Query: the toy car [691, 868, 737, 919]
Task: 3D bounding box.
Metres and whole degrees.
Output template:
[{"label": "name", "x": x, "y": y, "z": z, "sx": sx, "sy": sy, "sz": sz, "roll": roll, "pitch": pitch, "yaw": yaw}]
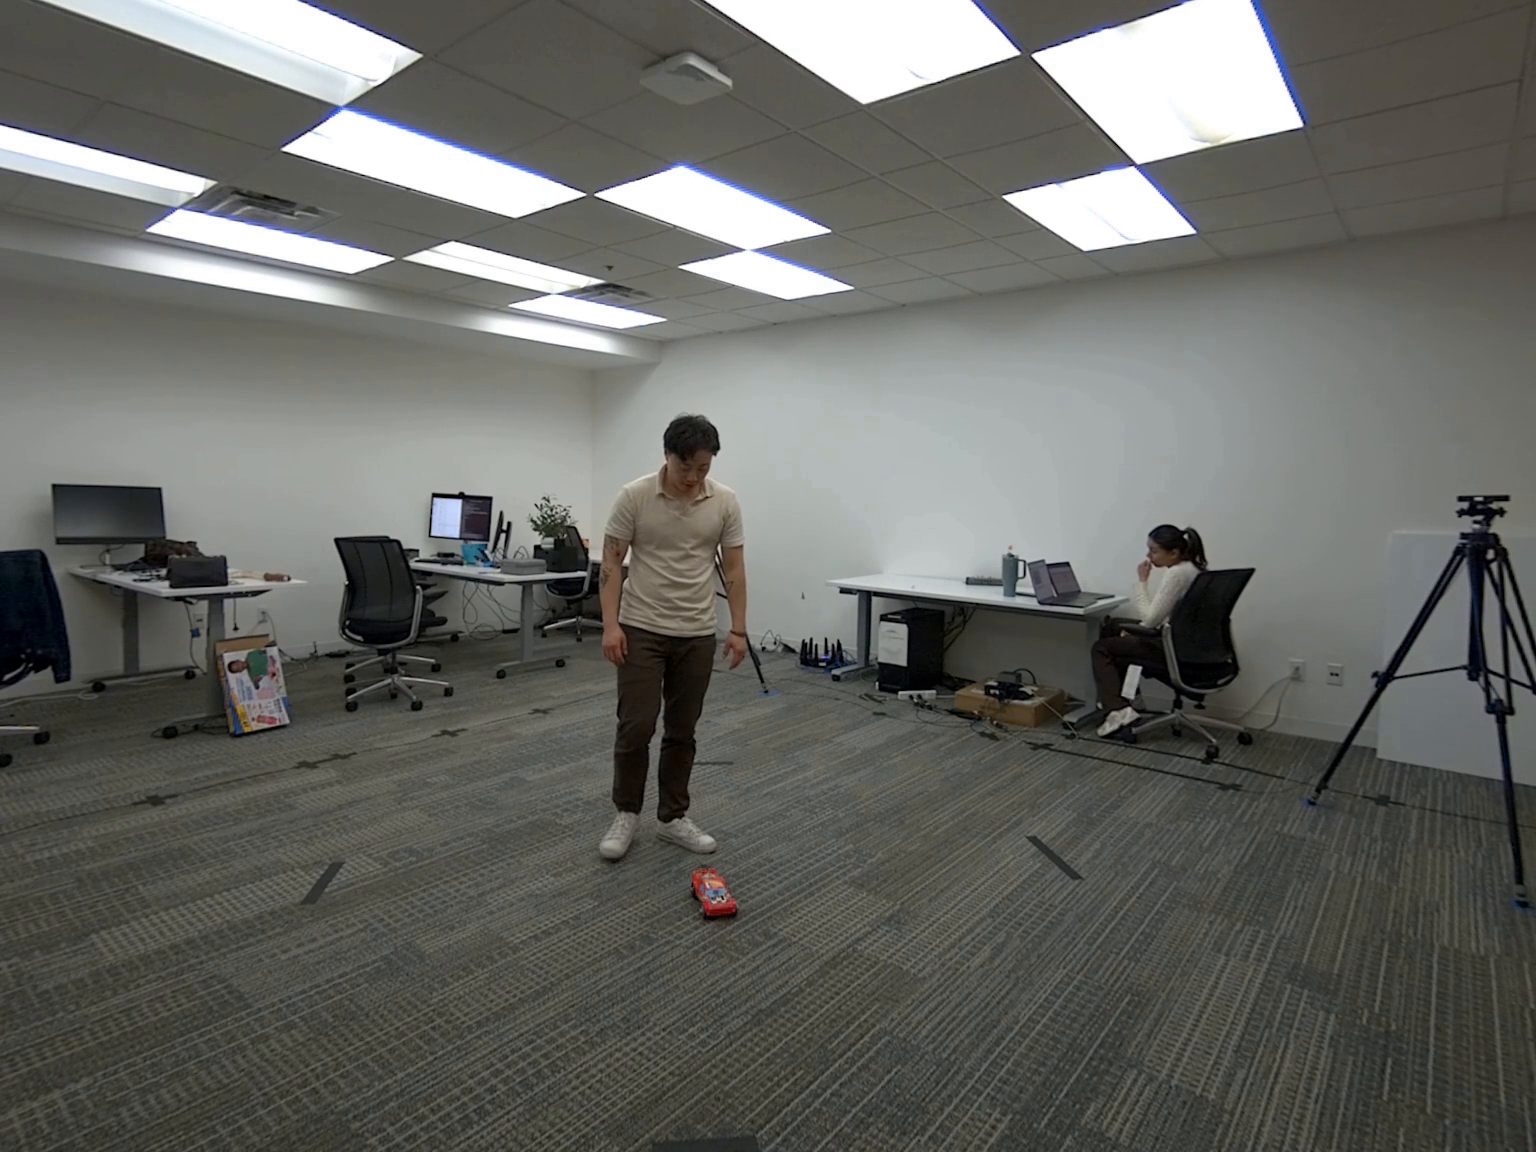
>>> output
[{"label": "toy car", "x": -0.192, "y": 1.059, "z": 2.841, "sx": 0.128, "sy": 0.082, "sz": 0.261, "roll": -1, "pitch": 16, "yaw": -14}]
